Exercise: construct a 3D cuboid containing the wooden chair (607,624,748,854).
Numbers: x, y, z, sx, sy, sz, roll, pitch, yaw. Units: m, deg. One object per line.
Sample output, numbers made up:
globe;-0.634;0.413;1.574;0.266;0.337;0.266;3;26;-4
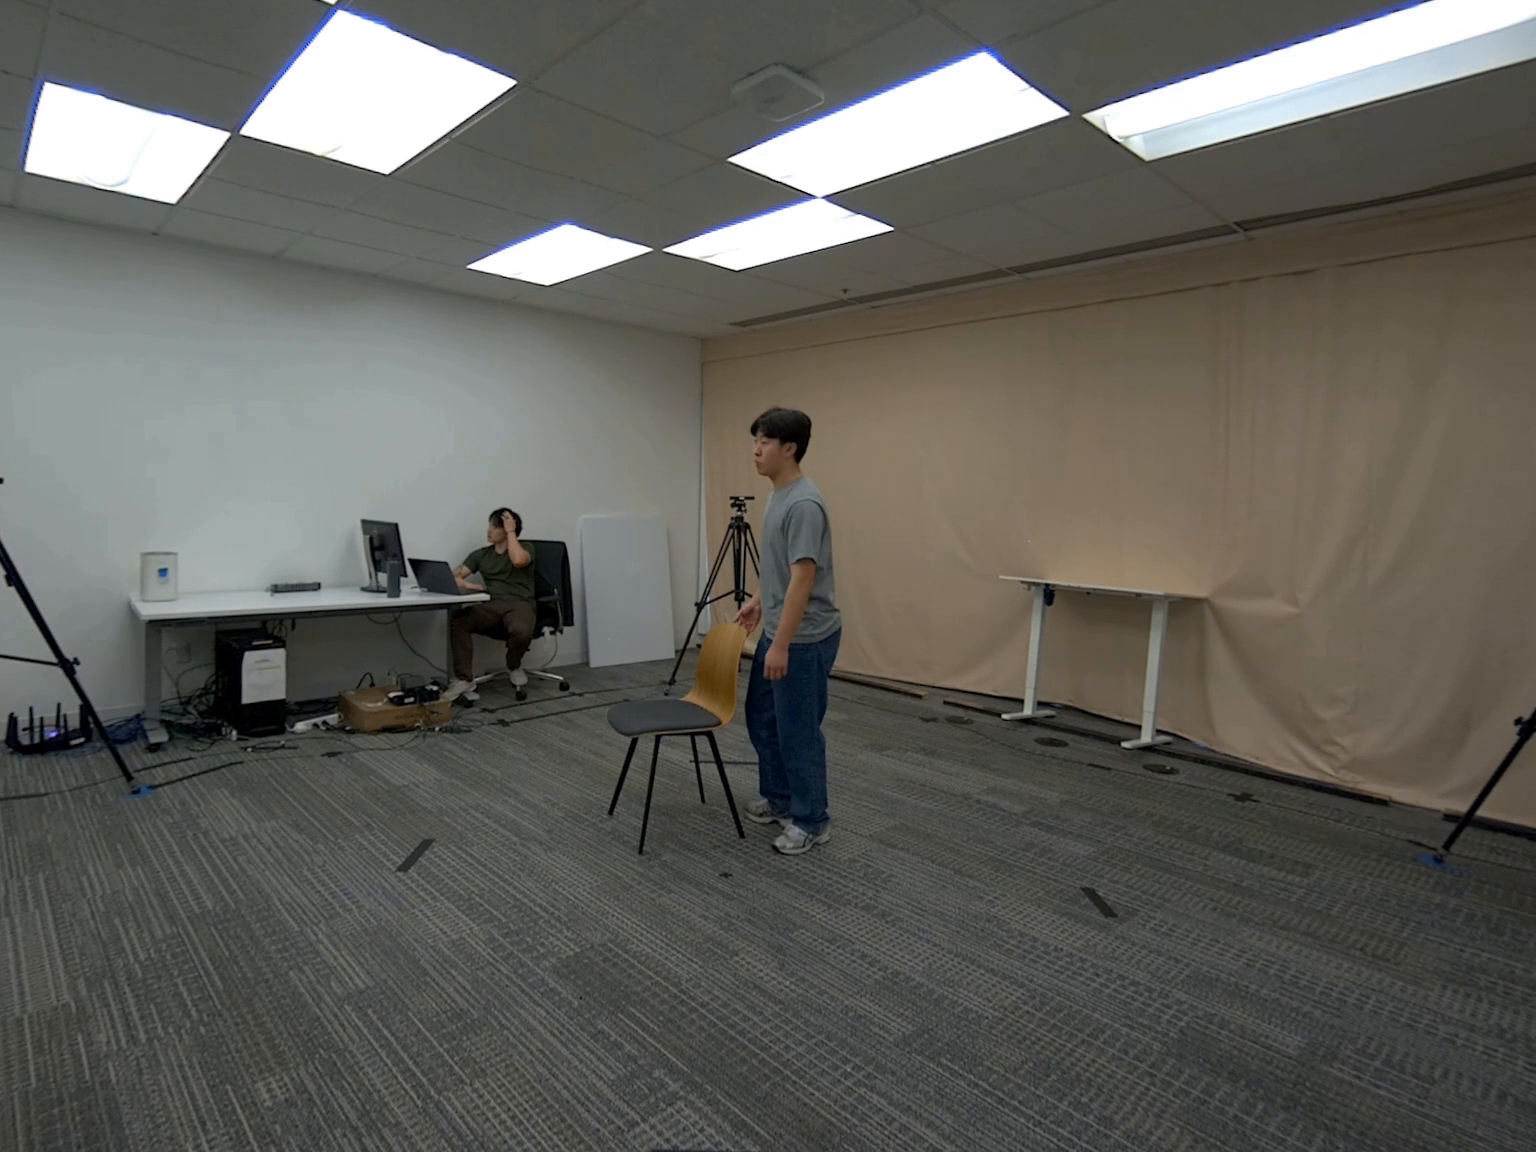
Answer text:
wooden chair;-0.395;0.630;3.520;0.513;0.876;0.488;5;2;-25
